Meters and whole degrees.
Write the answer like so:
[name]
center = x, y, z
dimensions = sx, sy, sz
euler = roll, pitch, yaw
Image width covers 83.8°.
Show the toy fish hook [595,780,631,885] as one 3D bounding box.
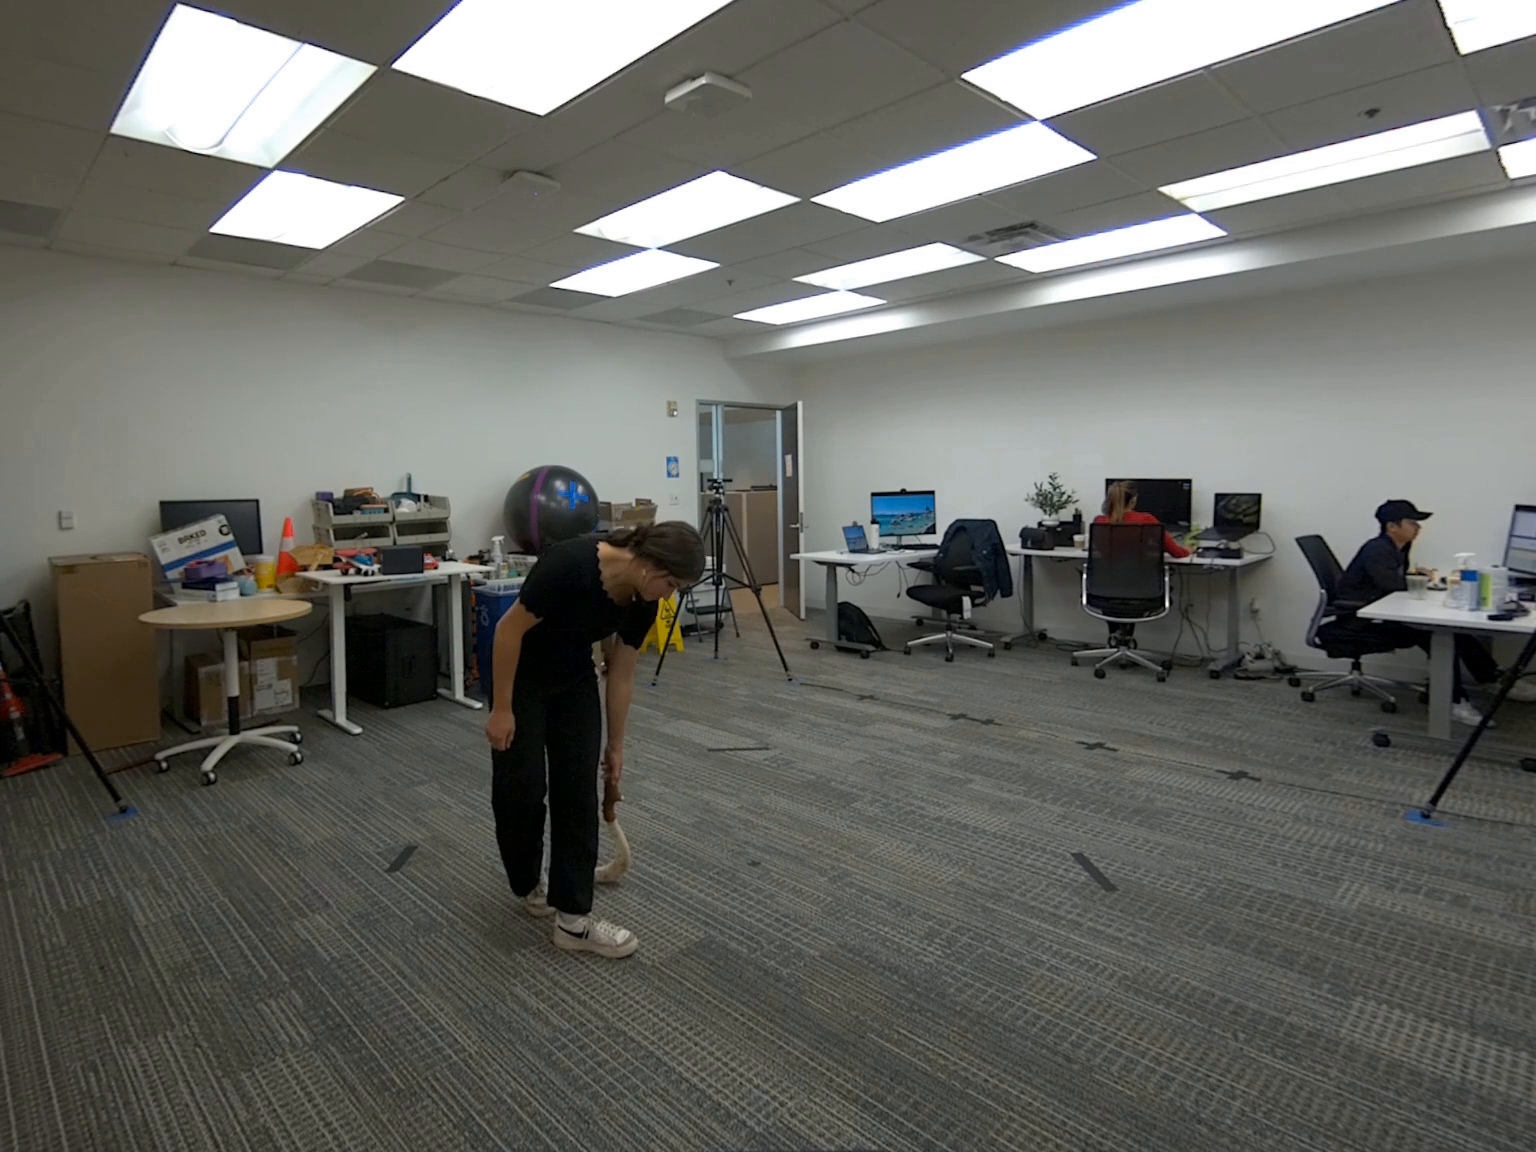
[toy fish hook]
center = -0.575, 0.854, 2.862
dimensions = 0.222, 0.496, 0.050
euler = 0, 28, -10
